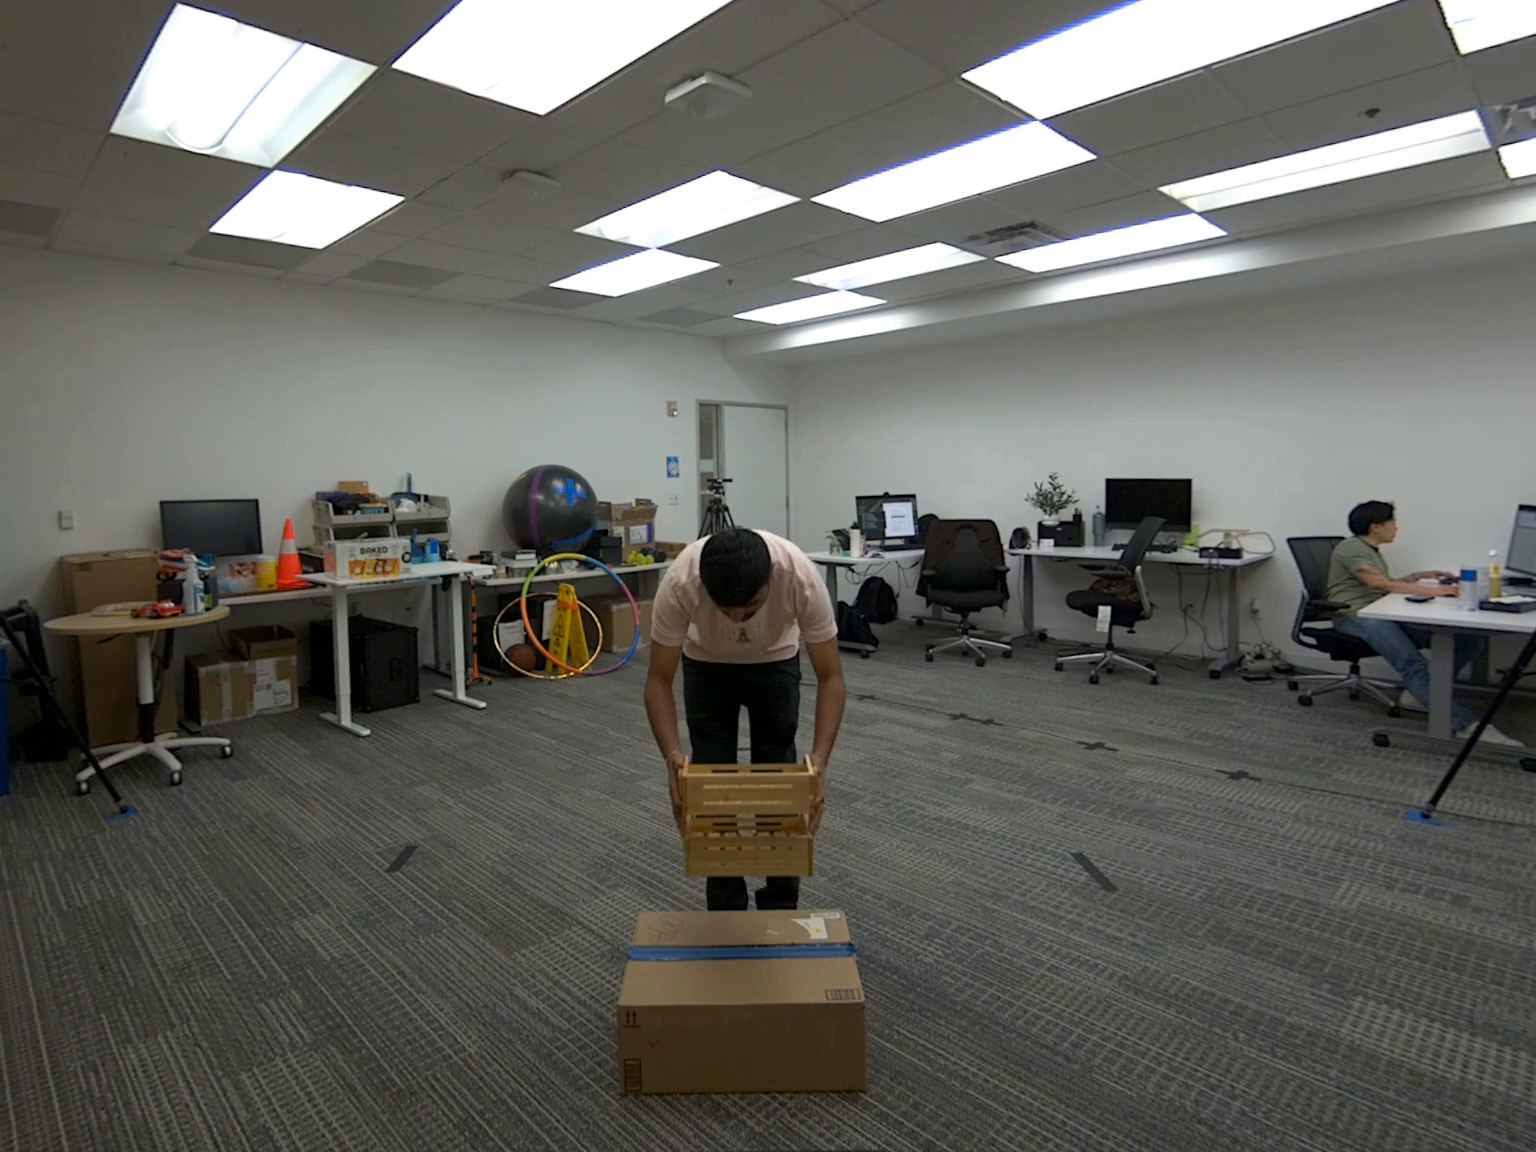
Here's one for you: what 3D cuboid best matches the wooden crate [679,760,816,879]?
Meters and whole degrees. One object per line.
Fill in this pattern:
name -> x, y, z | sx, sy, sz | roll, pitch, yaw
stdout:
wooden crate -> -0.048, 0.567, 2.104 | 0.324, 0.272, 0.303 | -1, 4, -2
